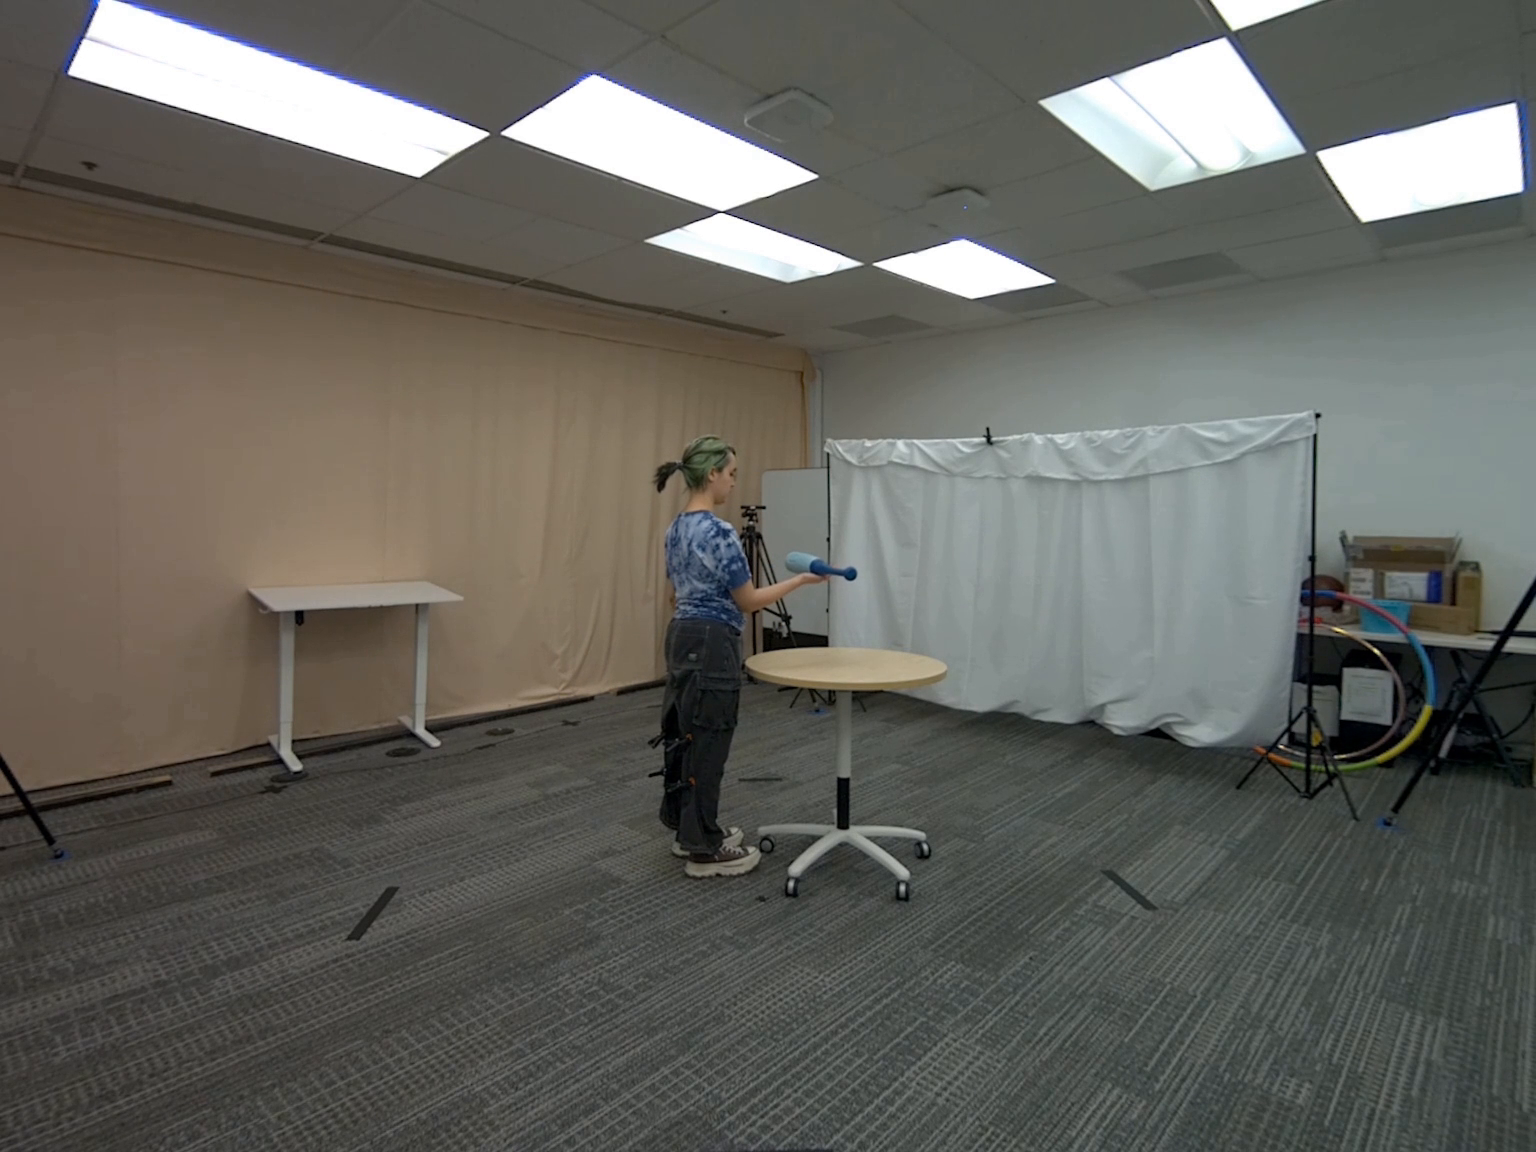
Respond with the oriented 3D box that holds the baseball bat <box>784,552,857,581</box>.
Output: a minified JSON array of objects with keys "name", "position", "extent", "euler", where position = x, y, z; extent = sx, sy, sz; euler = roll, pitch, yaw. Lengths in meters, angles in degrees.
[{"name":"baseball bat","position":[0.203,-0.030,3.222],"extent":[0.087,0.089,0.555],"euler":[-1,6,-20]}]
